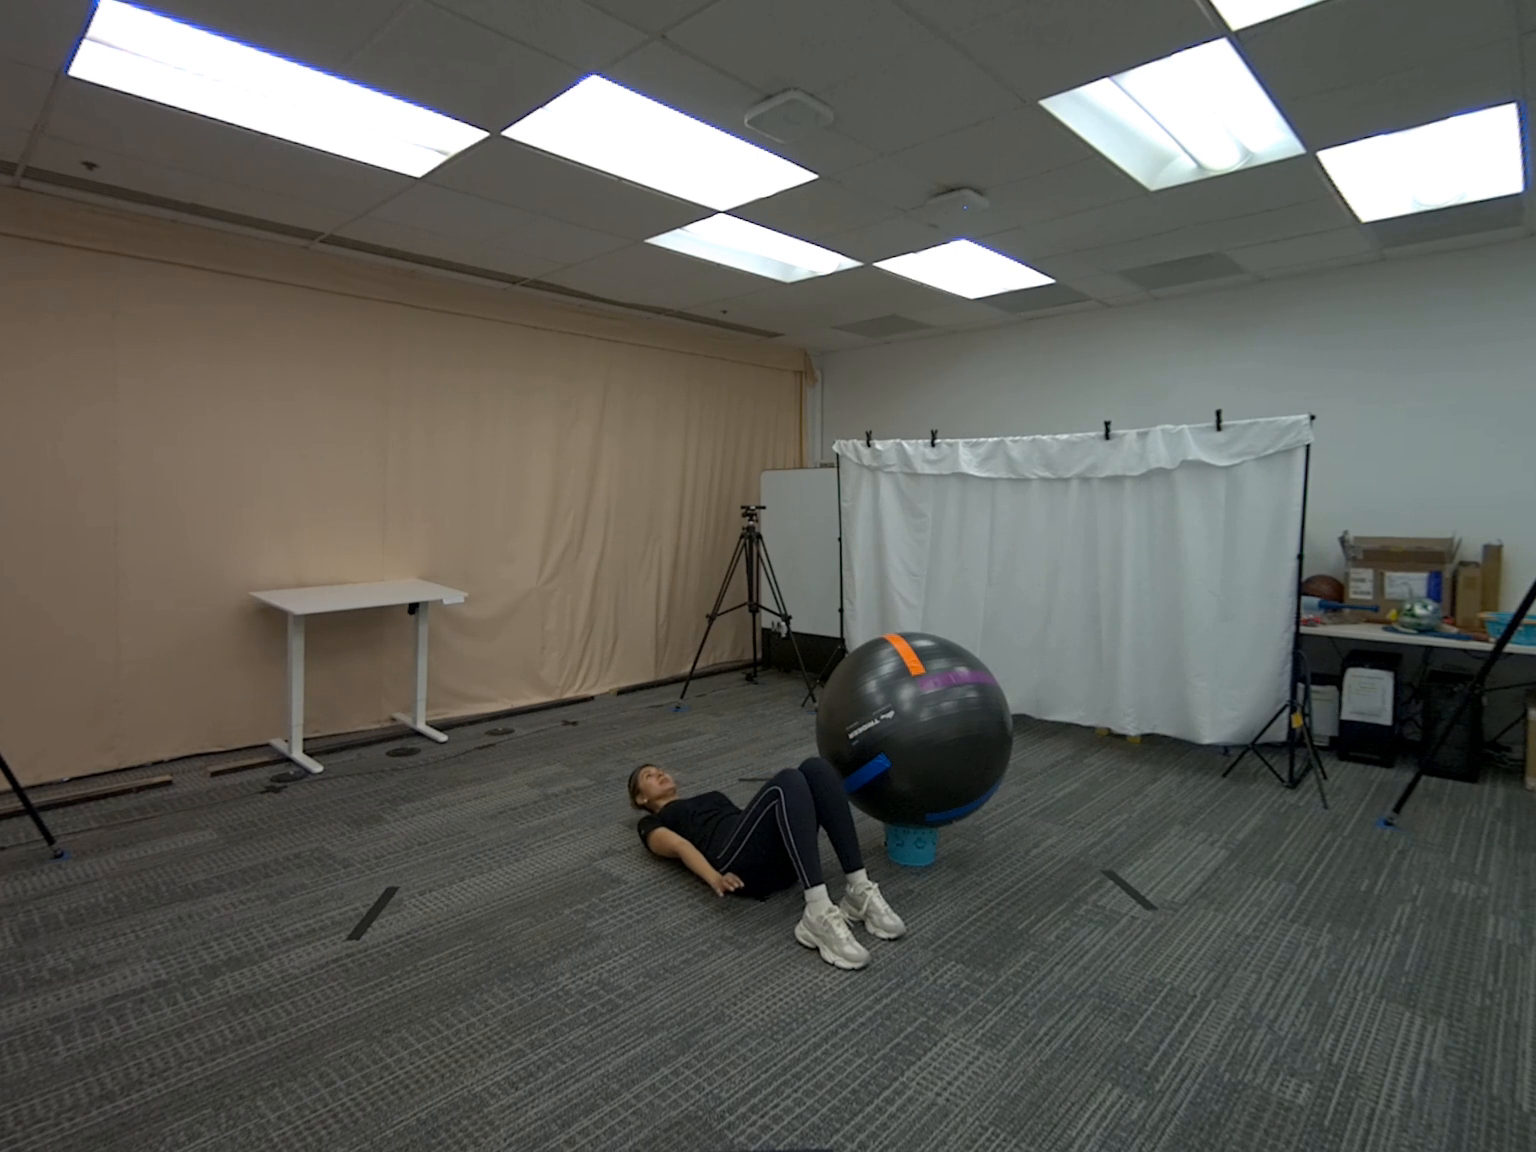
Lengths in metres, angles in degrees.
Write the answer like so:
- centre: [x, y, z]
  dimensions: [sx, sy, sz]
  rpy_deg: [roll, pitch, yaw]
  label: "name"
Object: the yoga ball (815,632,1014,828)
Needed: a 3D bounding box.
- centre: [0.575, 0.604, 3.329]
  dimensions: [0.757, 0.756, 0.761]
  rpy_deg: [3, 5, -2]
  label: "yoga ball"
